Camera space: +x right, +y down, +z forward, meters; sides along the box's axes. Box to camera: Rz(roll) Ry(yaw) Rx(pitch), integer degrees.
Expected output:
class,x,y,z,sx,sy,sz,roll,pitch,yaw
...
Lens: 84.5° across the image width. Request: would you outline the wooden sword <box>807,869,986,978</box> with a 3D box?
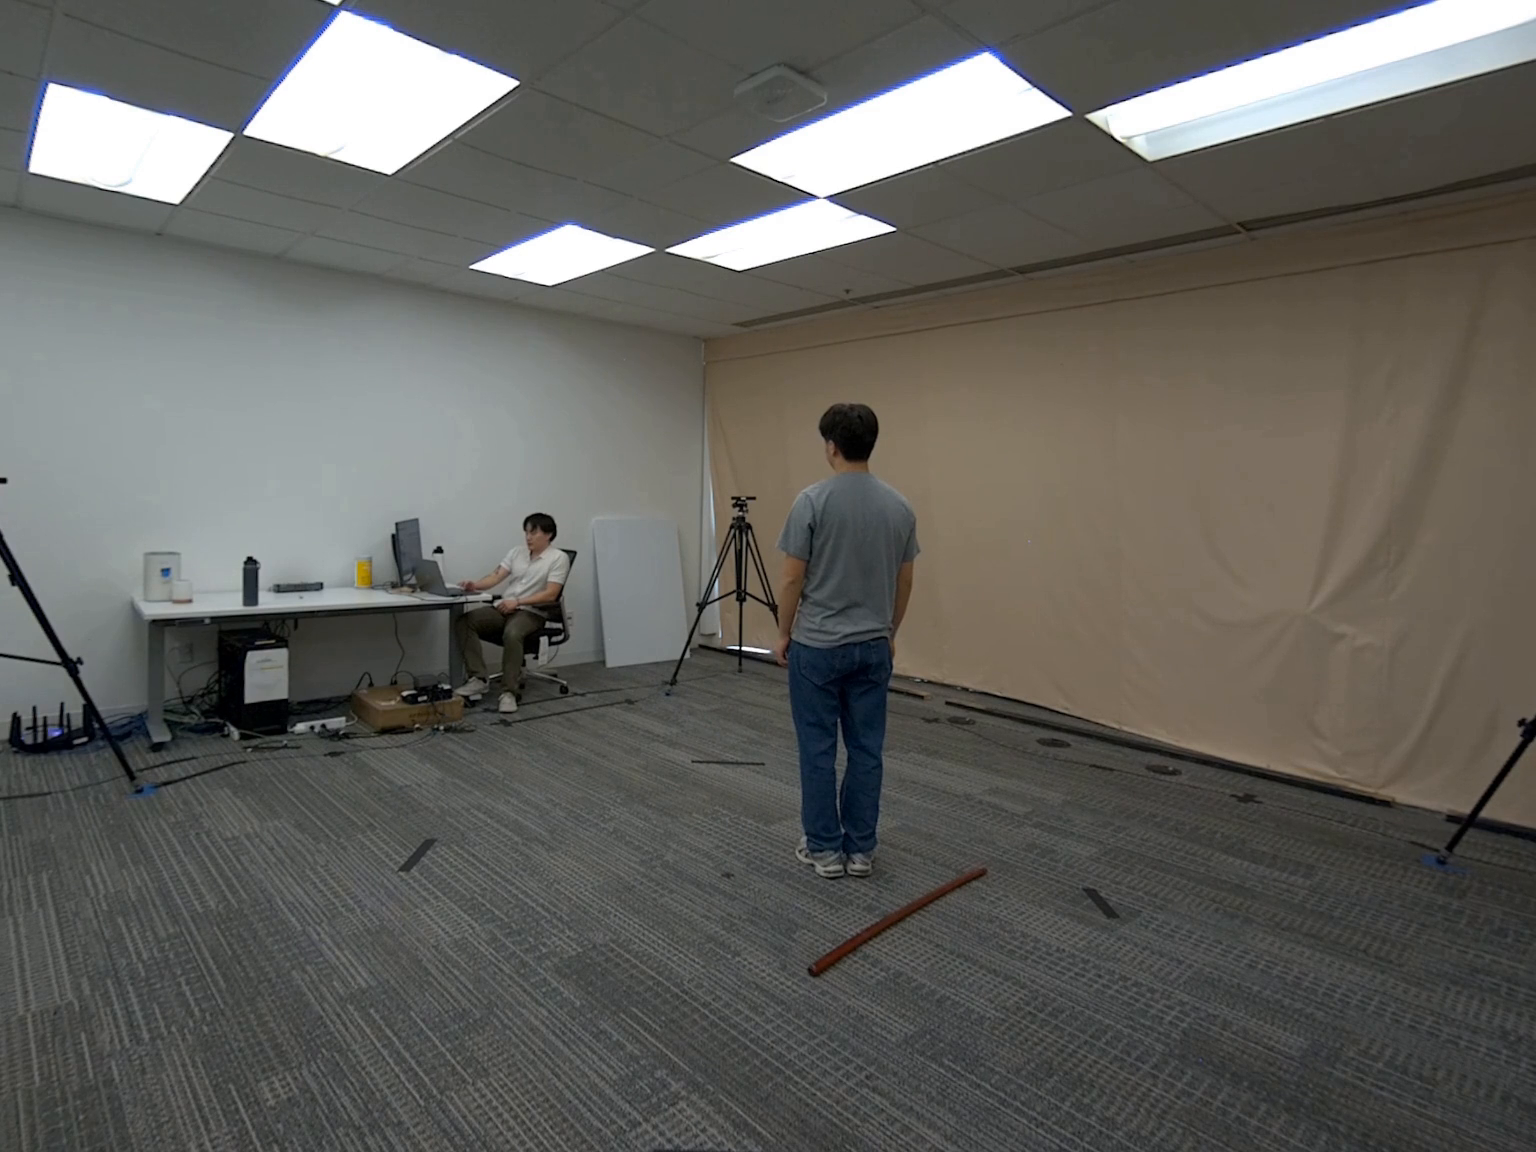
class,x,y,z,sx,sy,sz,roll,pitch,yaw
wooden sword,0.453,1.119,2.844,0.052,0.024,1.002,-1,2,43
